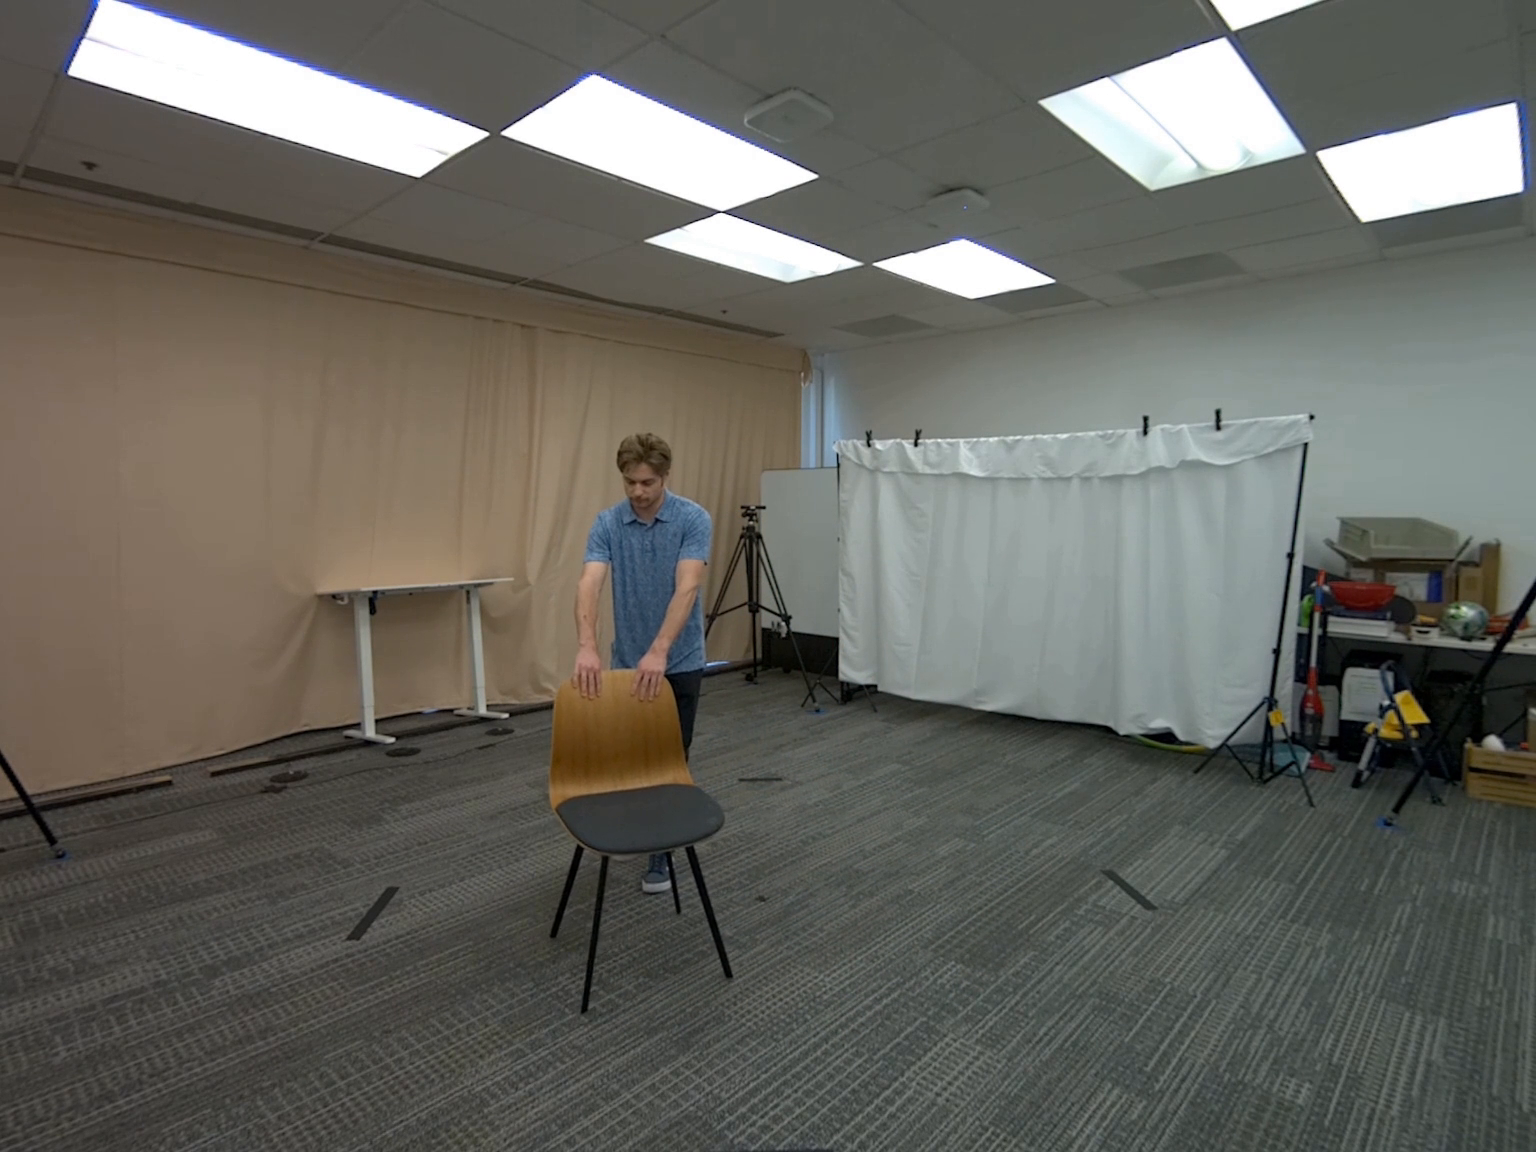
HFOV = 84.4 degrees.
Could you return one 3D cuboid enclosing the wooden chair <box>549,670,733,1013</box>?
[{"bbox_3d":[-0.396,0.748,2.568,0.467,0.878,0.535,-2,-1,-25],"label":"wooden chair"}]
